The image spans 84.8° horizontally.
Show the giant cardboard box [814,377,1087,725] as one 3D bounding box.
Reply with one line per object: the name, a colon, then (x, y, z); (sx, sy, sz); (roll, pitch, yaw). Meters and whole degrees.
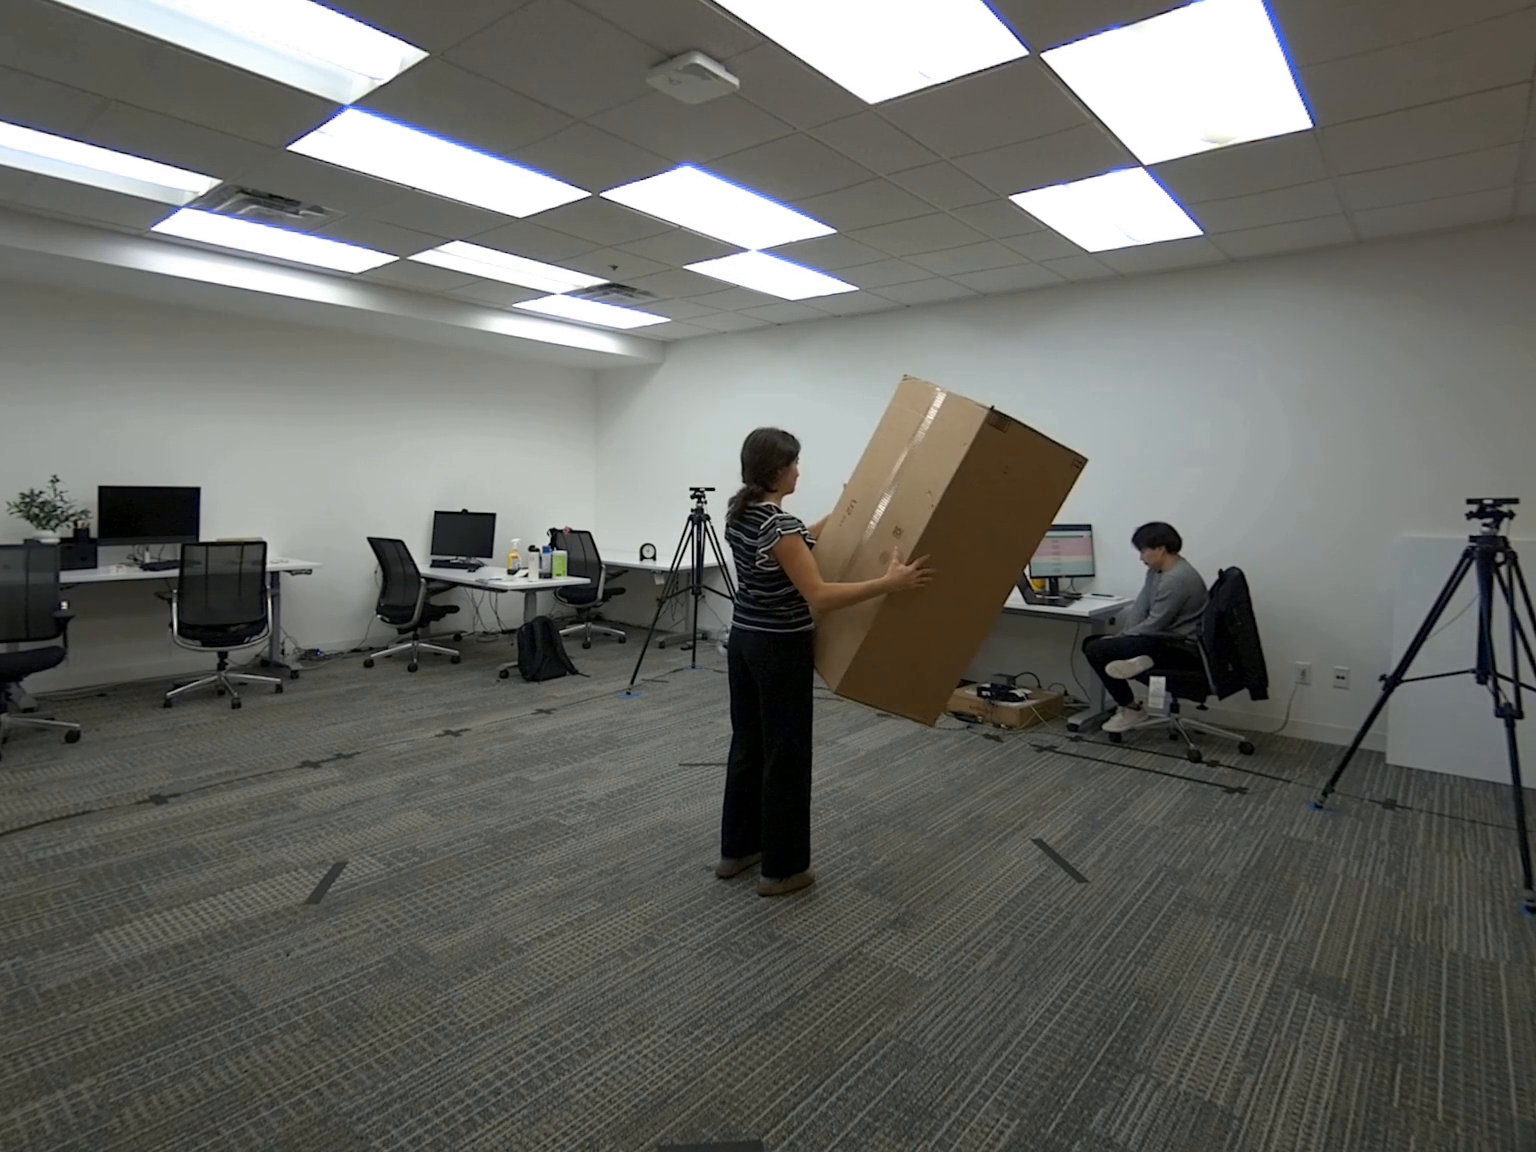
giant cardboard box: (0.518, -0.116, 2.969); (0.414, 1.021, 0.597); (21, 13, -25)
